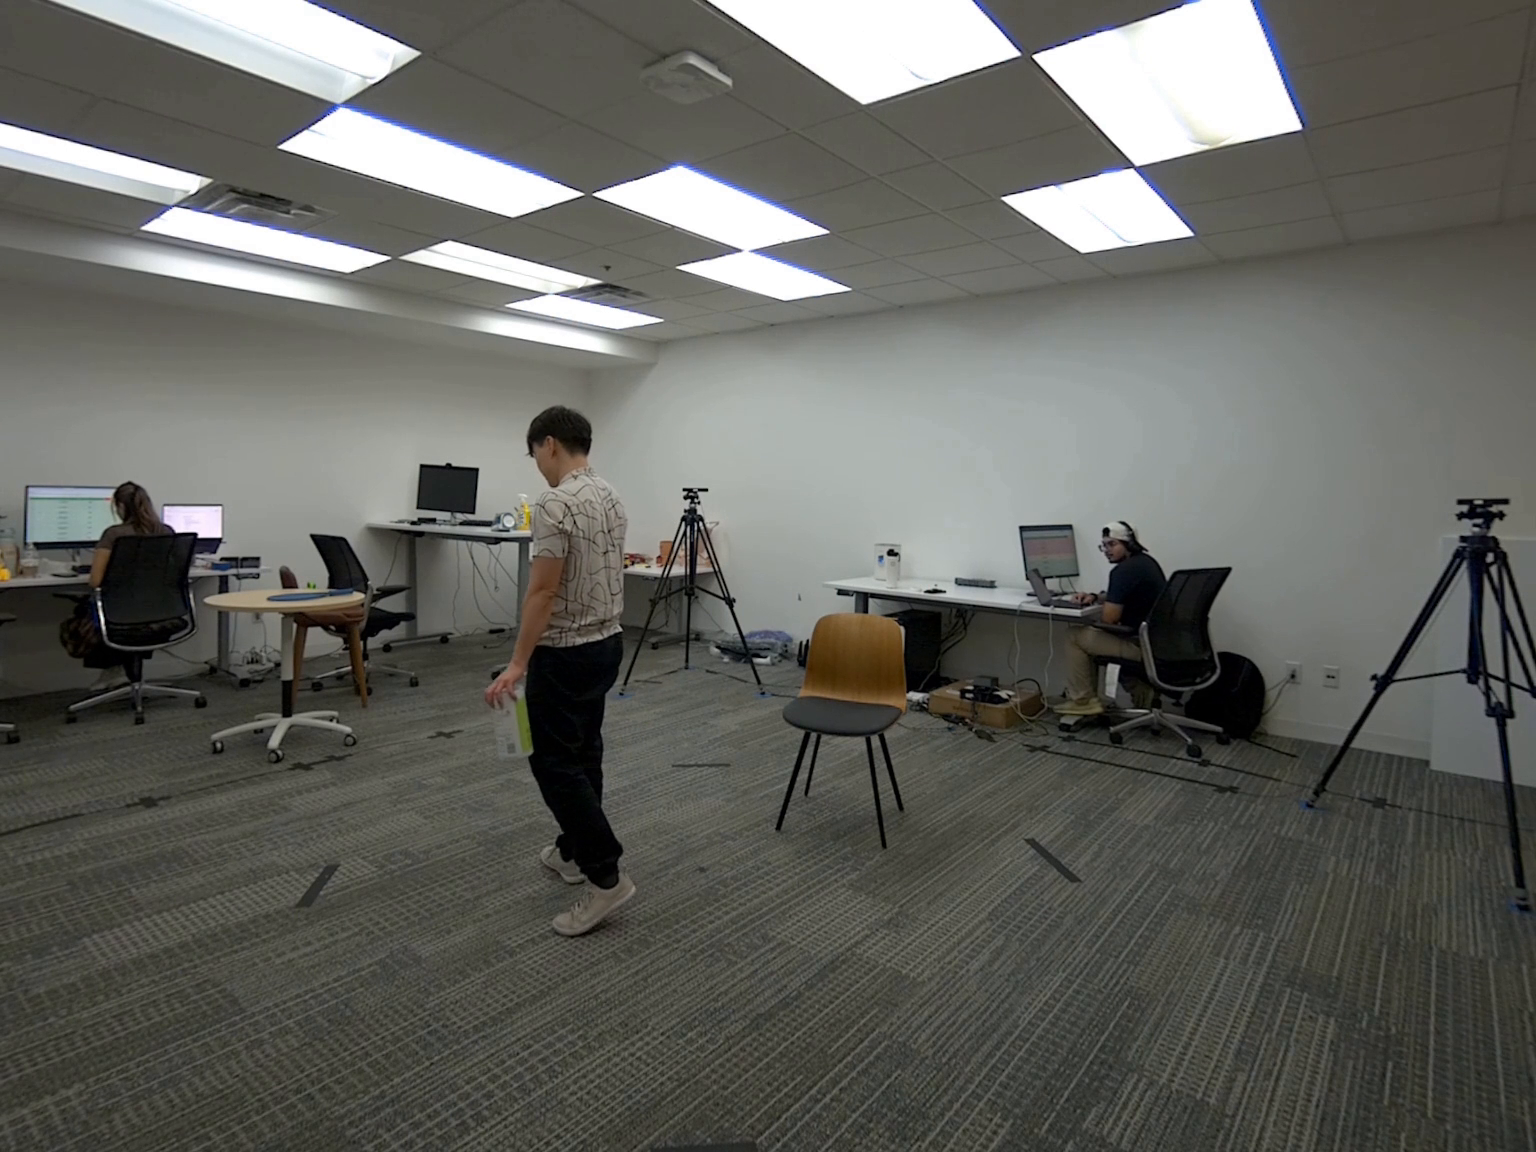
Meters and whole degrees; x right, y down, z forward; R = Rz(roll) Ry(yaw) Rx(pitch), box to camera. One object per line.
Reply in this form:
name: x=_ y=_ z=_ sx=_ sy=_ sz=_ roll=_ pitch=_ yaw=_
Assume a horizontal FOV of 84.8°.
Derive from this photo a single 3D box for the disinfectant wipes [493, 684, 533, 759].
disinfectant wipes: x=-0.818 y=0.457 z=2.661 sx=0.118 sy=0.216 sz=0.118 roll=-5 pitch=5 yaw=-1
